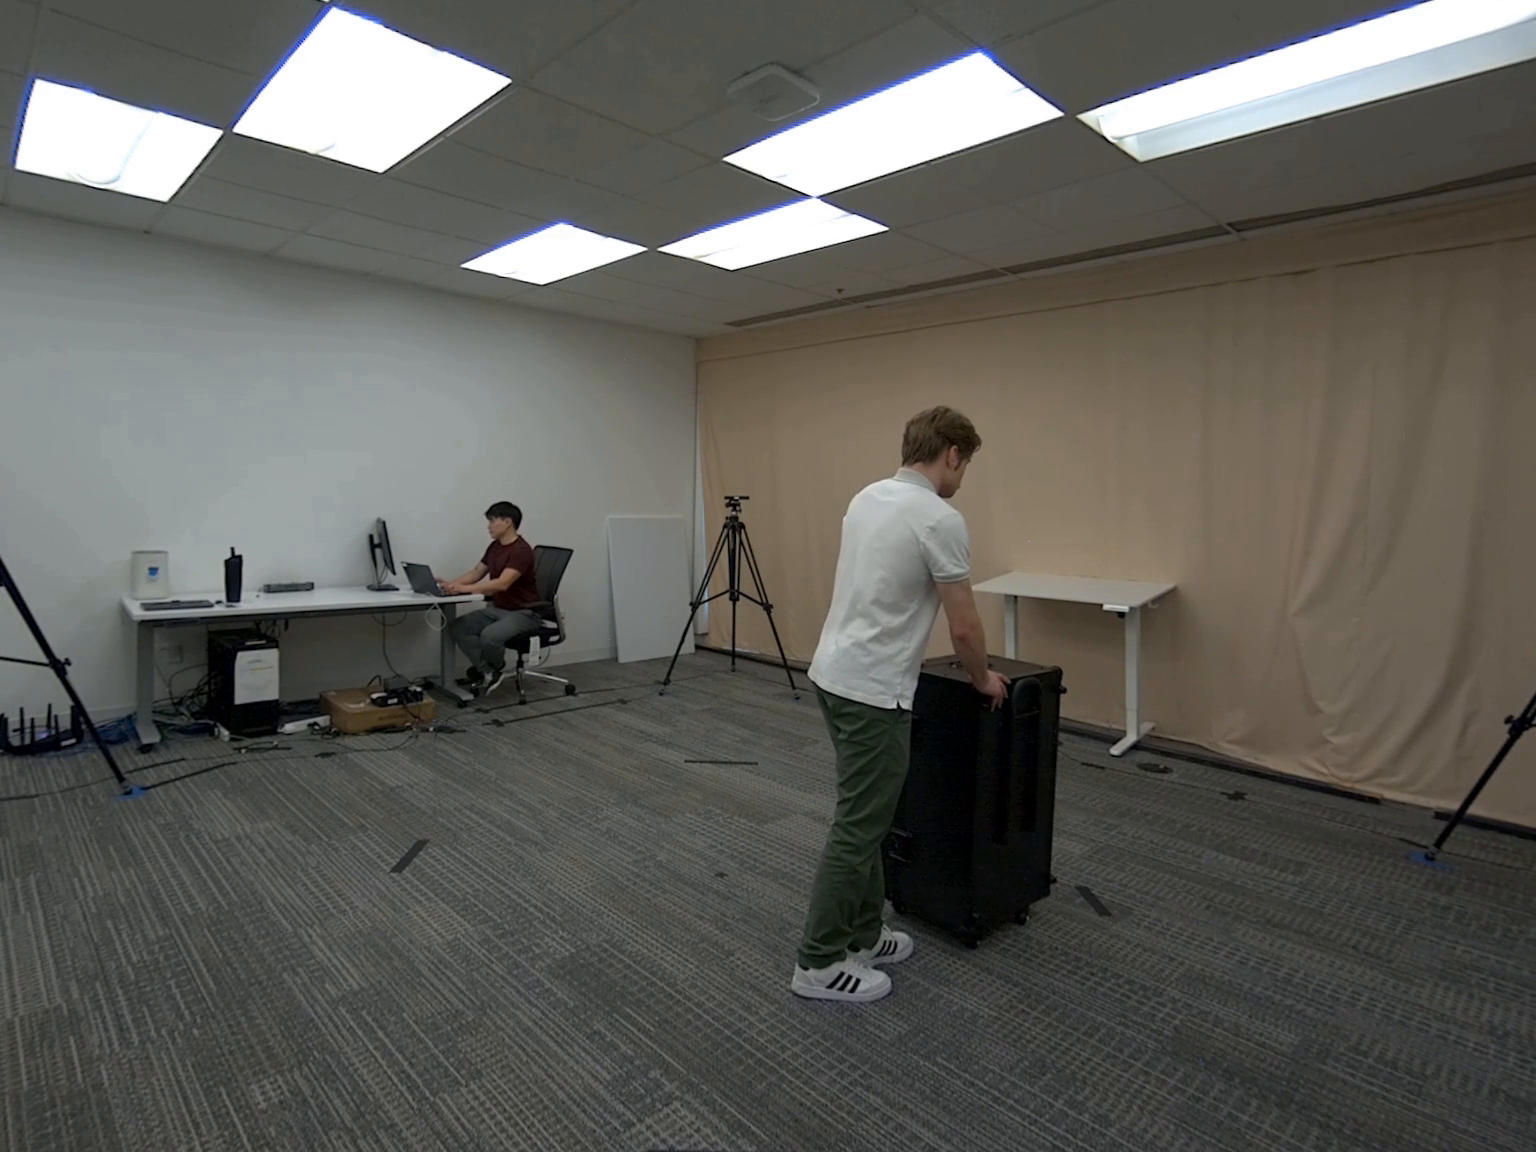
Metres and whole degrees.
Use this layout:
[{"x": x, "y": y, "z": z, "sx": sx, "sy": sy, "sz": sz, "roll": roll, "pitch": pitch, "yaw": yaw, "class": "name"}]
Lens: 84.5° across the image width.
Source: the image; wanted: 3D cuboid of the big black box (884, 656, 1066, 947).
[{"x": 0.681, "y": 0.727, "z": 2.829, "sx": 0.511, "sy": 0.866, "sz": 0.395, "roll": -2, "pitch": 5, "yaw": -42, "class": "big black box"}]
